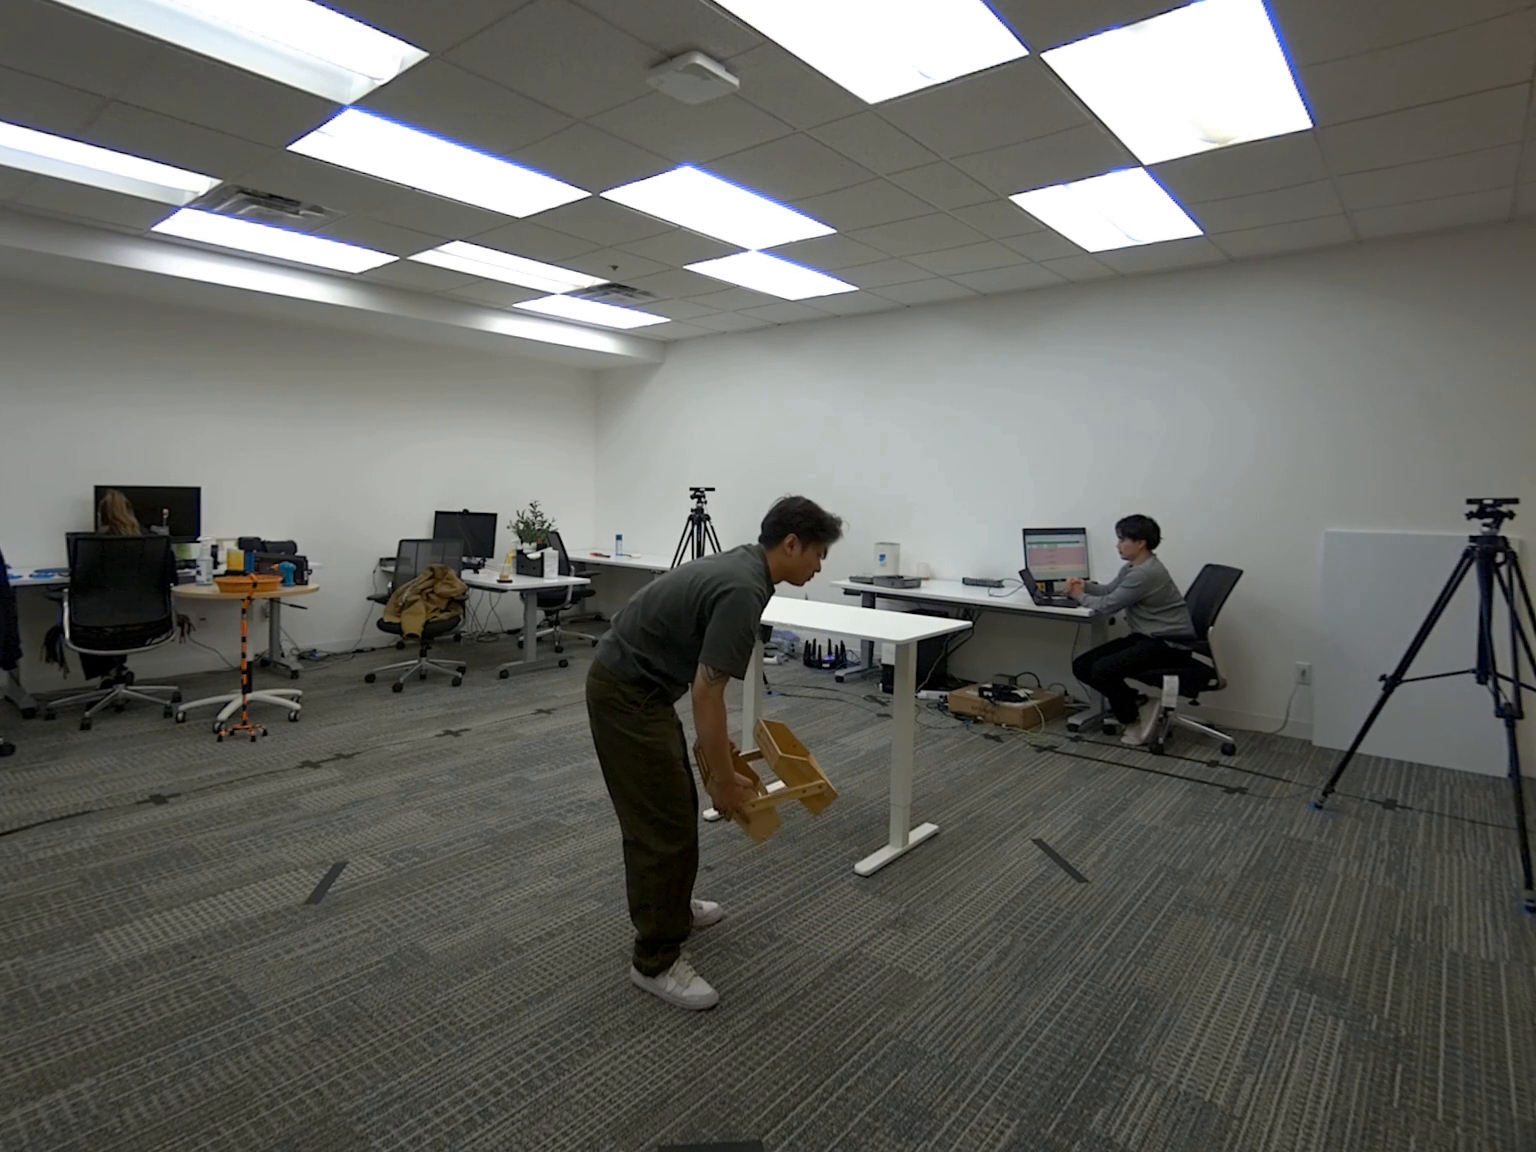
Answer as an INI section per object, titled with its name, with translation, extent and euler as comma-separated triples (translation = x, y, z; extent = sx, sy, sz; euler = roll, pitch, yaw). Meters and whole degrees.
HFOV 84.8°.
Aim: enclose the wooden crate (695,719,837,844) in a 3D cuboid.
[wooden crate]
translation = -0.023, 0.565, 2.496
extent = 0.273, 0.296, 0.331
euler = -42, 14, -1
